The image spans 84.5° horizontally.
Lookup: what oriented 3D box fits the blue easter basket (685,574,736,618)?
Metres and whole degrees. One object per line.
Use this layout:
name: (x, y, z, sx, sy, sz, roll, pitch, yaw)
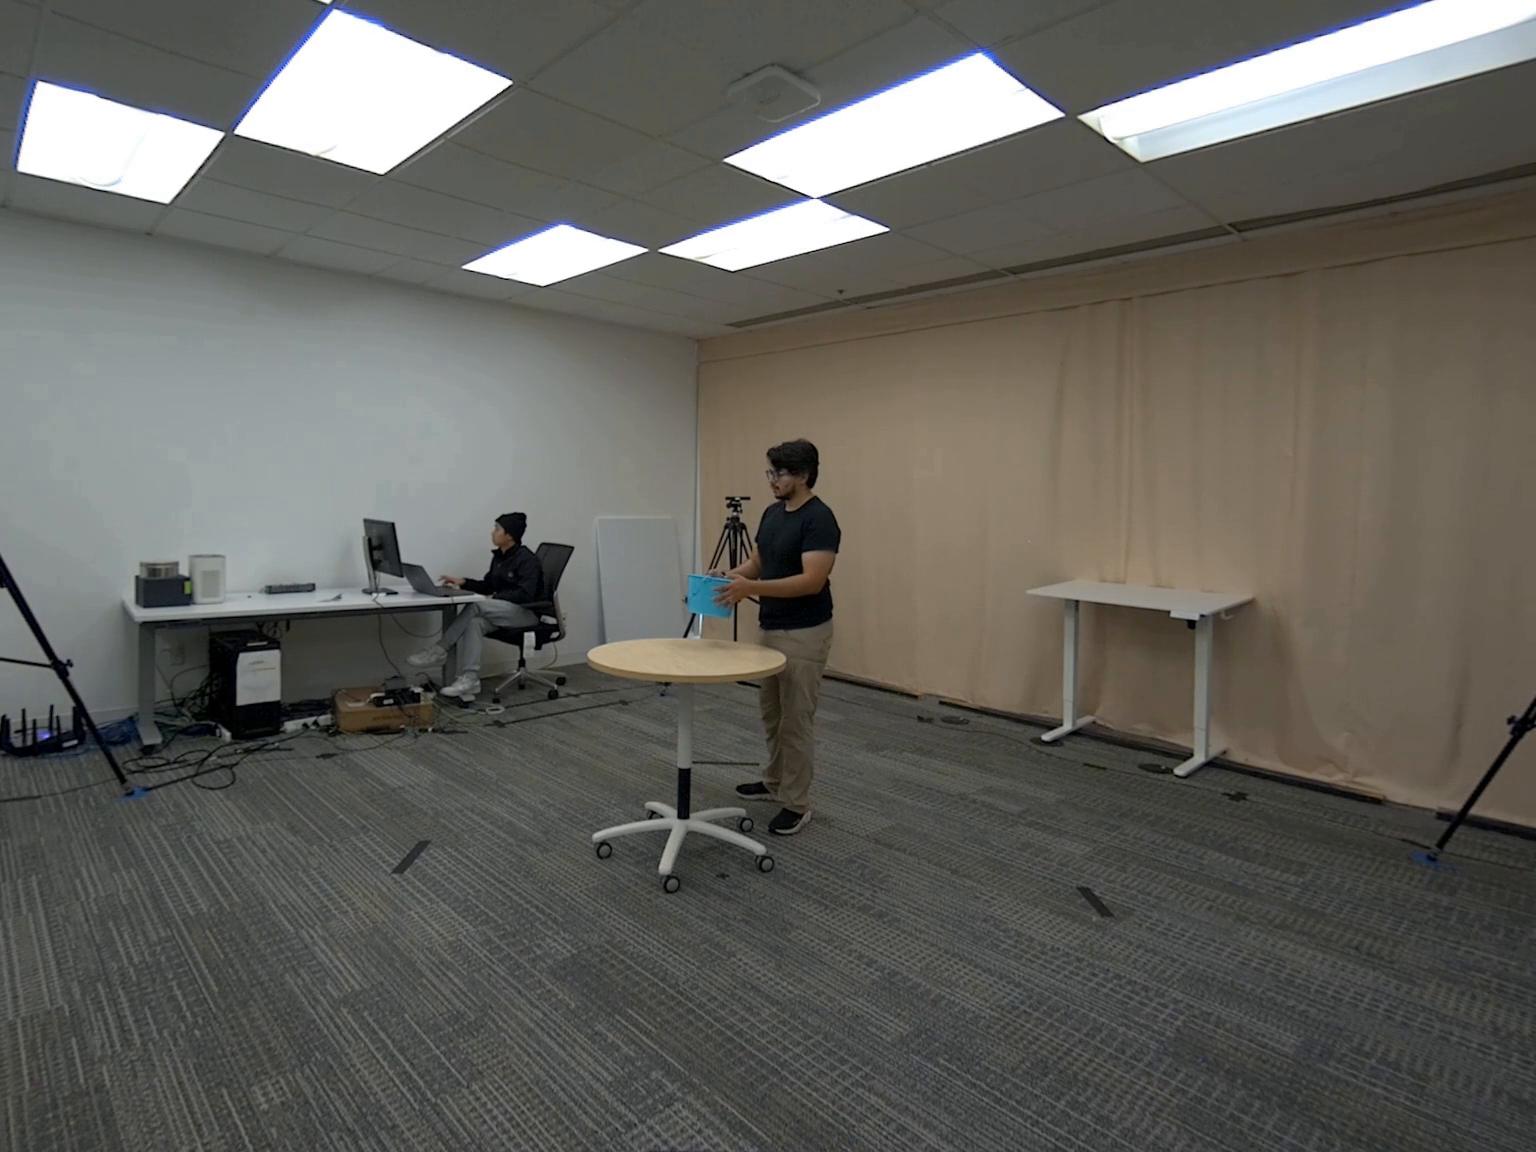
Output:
blue easter basket: (-0.243, 0.083, 3.499, 0.243, 0.156, 0.244, 9, 1, -2)
